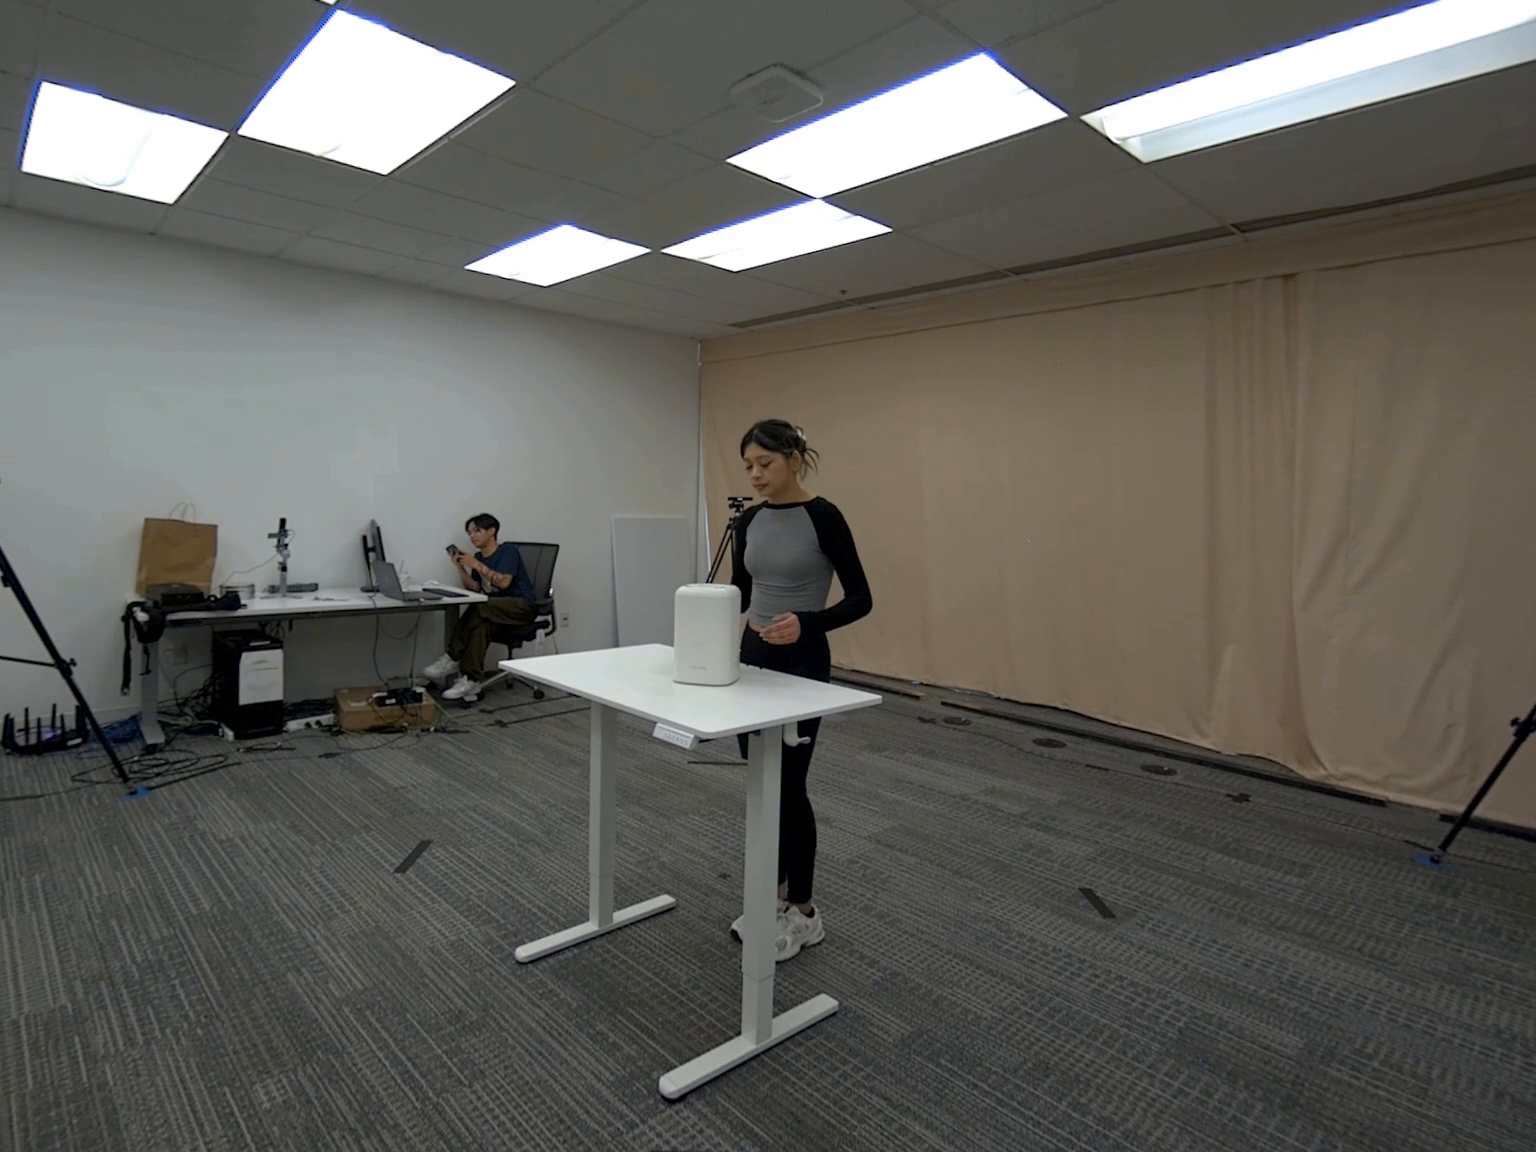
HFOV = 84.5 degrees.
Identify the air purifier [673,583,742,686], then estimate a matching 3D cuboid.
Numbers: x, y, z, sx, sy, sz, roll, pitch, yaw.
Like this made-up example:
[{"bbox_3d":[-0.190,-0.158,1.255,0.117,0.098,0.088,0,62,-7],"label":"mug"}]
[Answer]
[{"bbox_3d":[-0.173,0.163,2.341,0.173,0.265,0.169,2,2,15],"label":"air purifier"}]
